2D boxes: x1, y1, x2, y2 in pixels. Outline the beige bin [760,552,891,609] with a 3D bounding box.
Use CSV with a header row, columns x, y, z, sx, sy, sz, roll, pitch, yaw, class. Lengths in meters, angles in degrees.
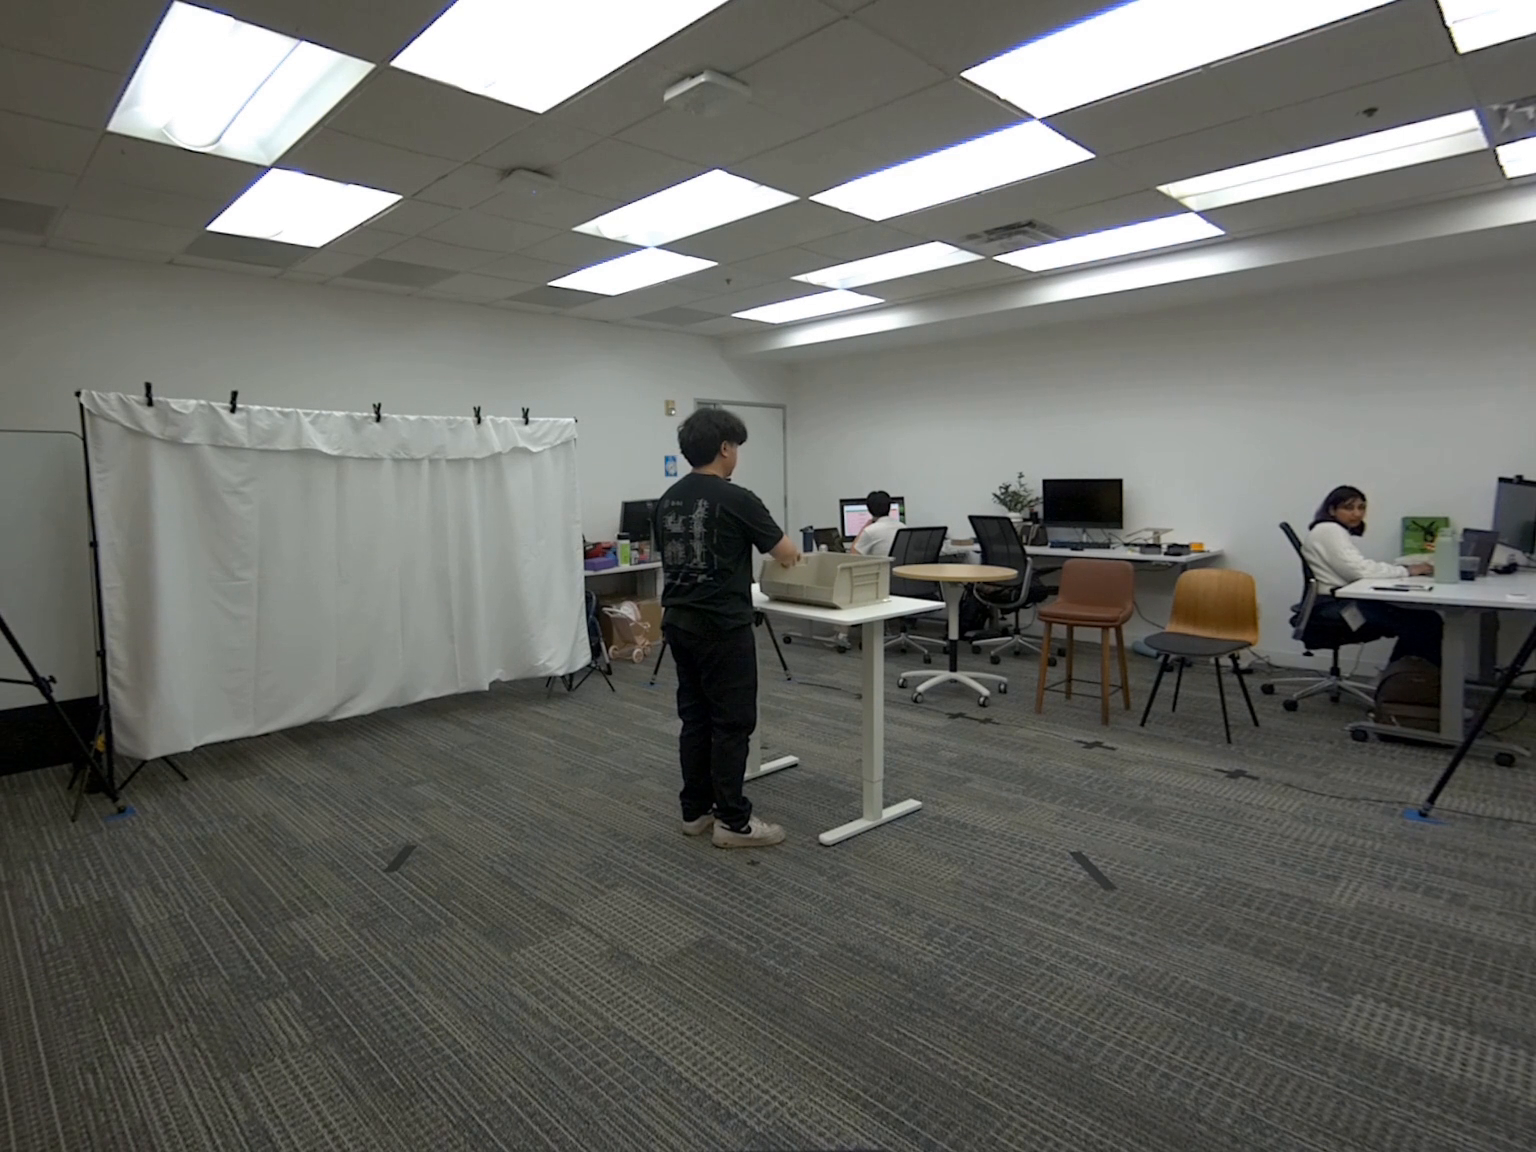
x,y,z,sx,sy,sz,roll,pitch,yaw,class
0.238,0.014,3.547,0.367,0.188,0.435,-6,7,-42,beige bin
